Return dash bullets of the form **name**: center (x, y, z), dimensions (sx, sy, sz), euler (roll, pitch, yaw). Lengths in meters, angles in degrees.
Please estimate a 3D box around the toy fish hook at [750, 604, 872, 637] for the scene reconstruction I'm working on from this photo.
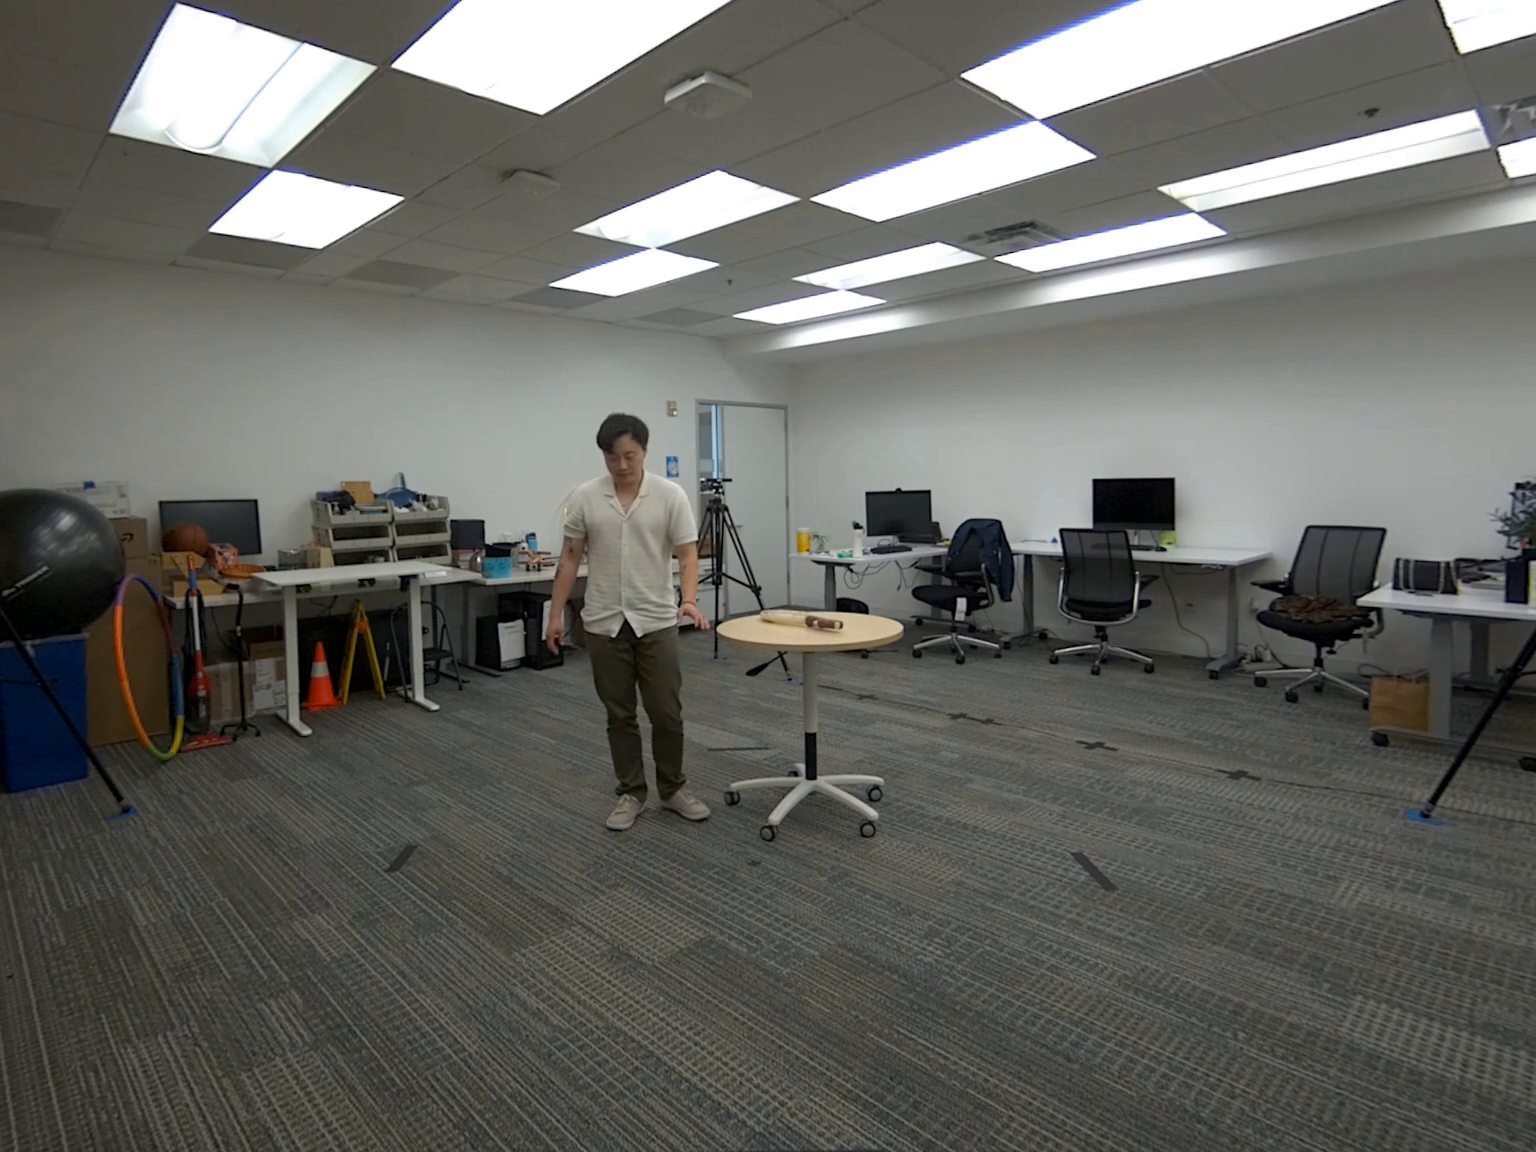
- **toy fish hook**: center (0.169, 0.180, 3.601), dimensions (0.219, 0.048, 0.522), euler (-7, 8, -37)
